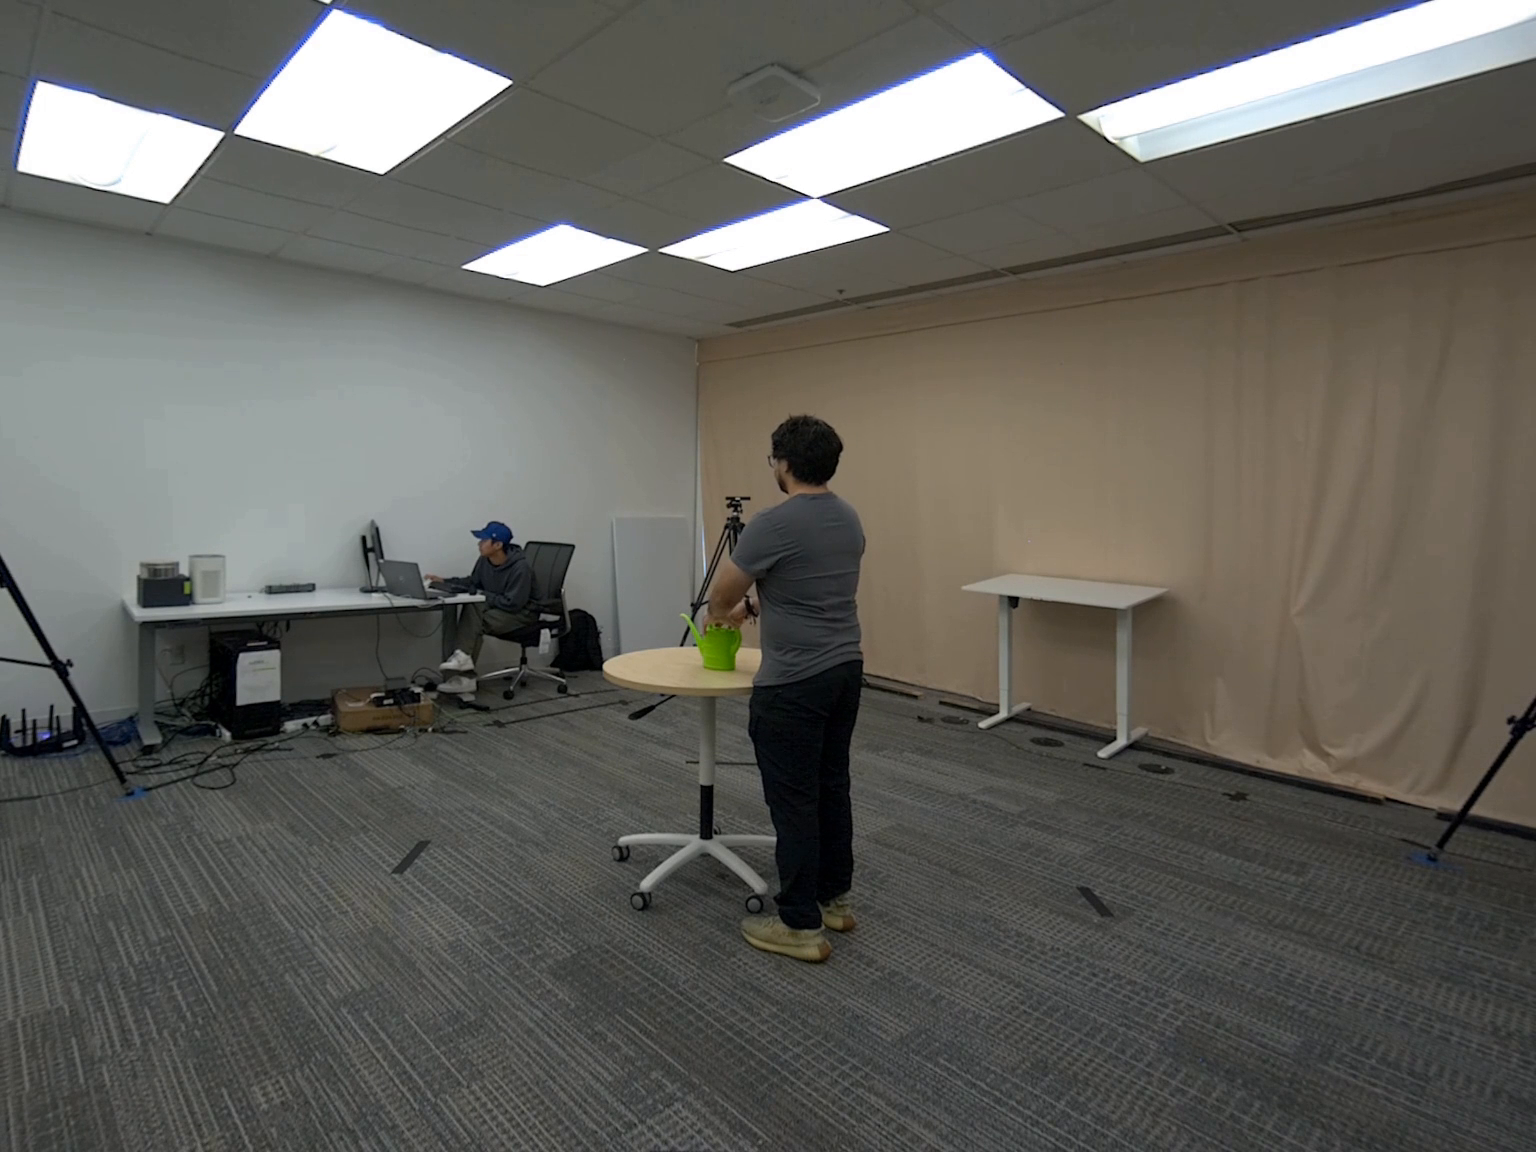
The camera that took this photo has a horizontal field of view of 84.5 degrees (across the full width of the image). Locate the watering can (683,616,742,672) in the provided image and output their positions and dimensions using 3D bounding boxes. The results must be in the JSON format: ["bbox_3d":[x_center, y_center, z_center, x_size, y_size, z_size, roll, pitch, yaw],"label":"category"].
[{"bbox_3d":[-0.213,0.241,3.046,0.096,0.176,0.286,-3,9,-42],"label":"watering can"}]
